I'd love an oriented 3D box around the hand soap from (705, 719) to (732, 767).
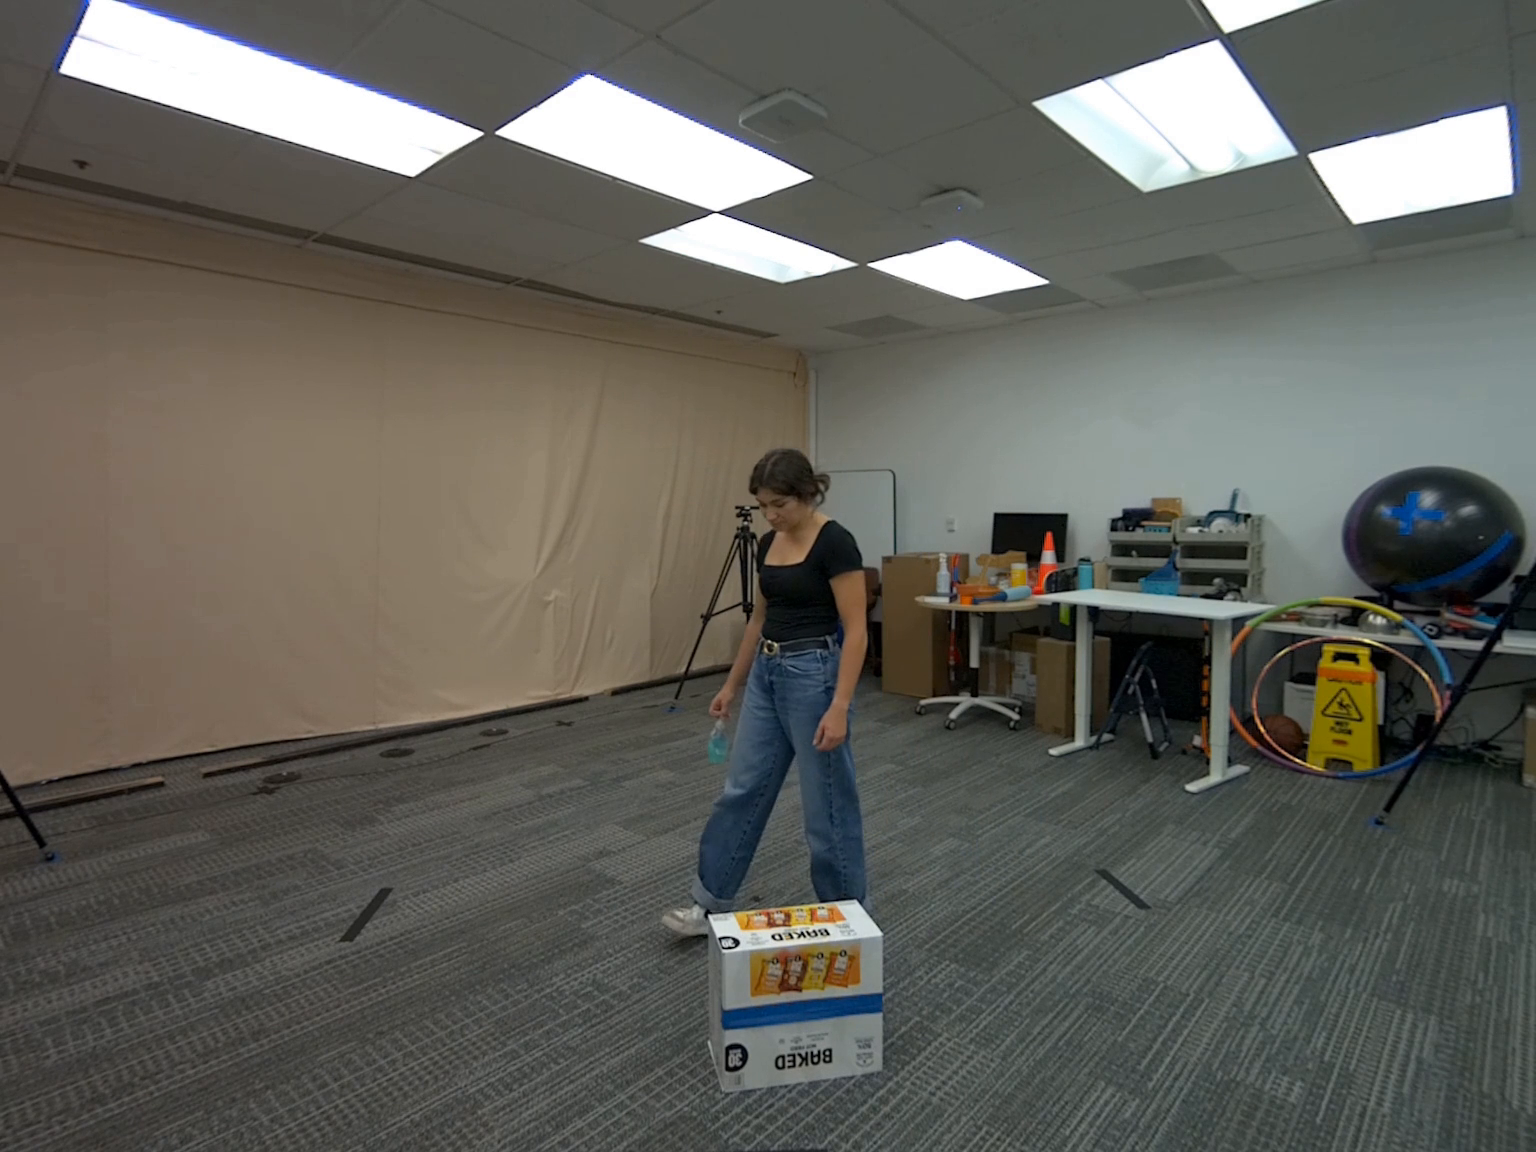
[{"bbox_3d":[-0.140,0.531,2.801,0.081,0.168,0.045,16,-8,-40],"label":"hand soap"}]
